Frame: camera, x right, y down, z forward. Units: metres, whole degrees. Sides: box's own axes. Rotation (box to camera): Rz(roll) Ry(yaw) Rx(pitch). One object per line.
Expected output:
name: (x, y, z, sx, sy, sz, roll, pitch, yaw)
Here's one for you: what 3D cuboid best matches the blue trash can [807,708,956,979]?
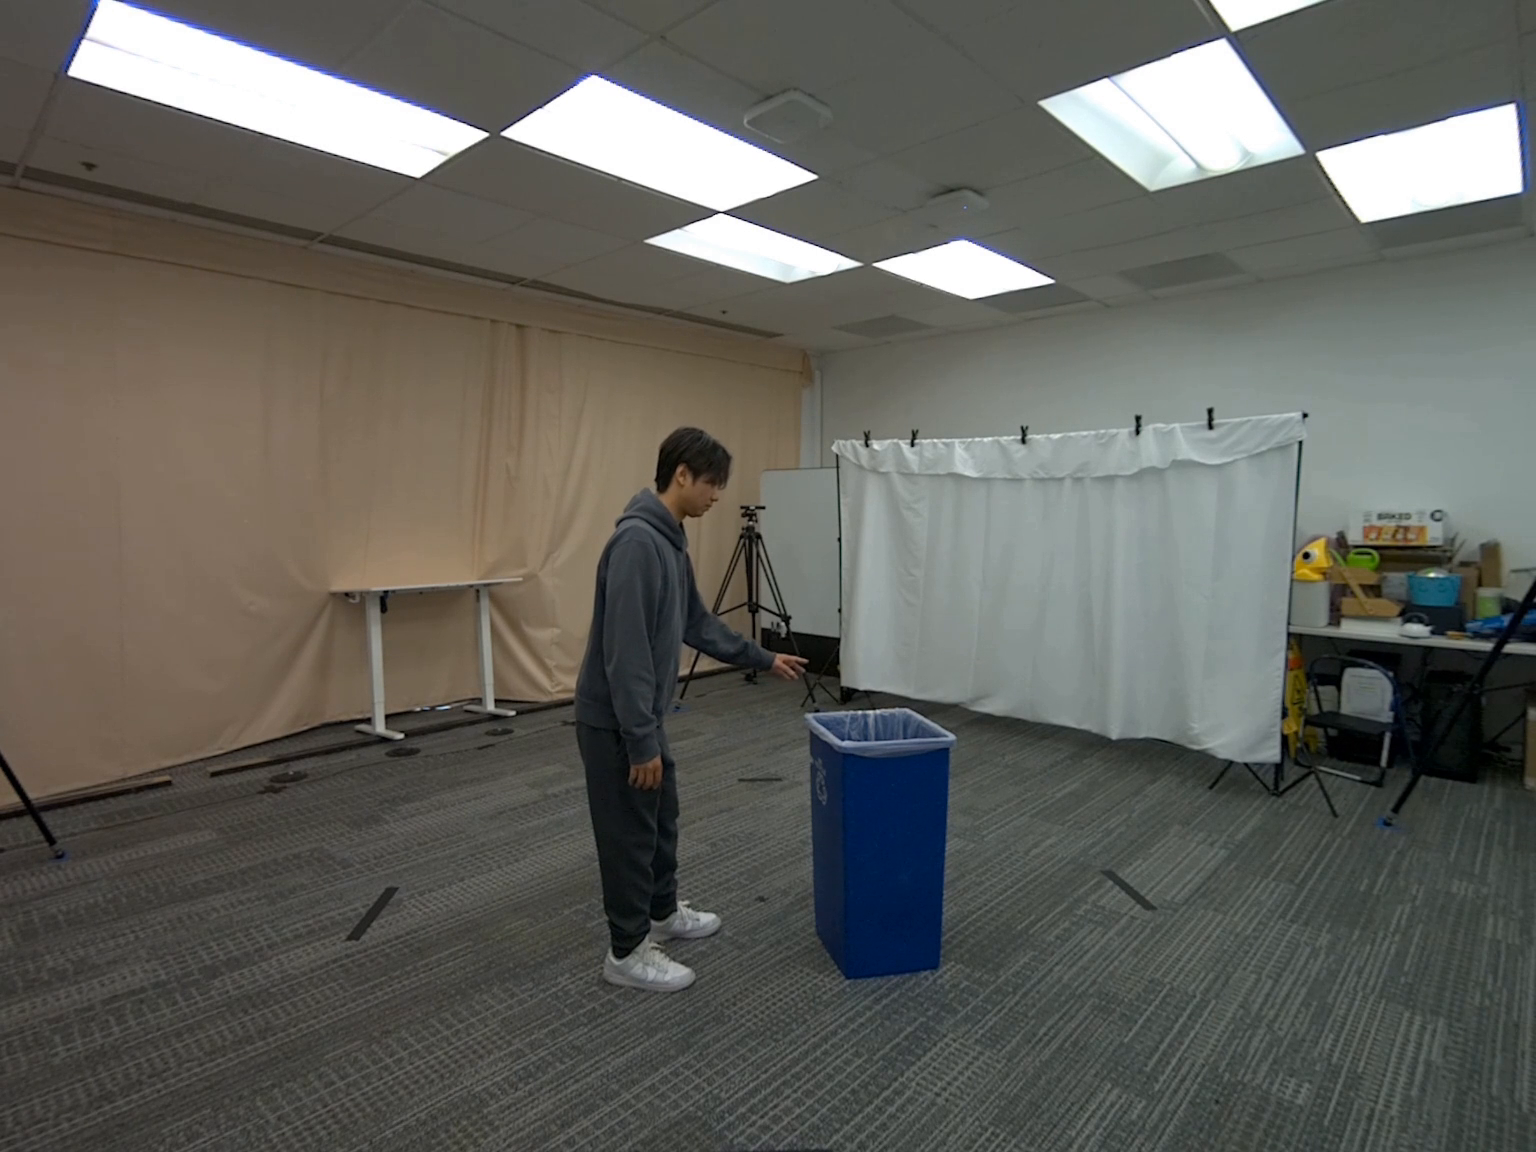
blue trash can: (0.347, 0.816, 2.620, 0.373, 0.712, 0.380, -1, 3, -13)
